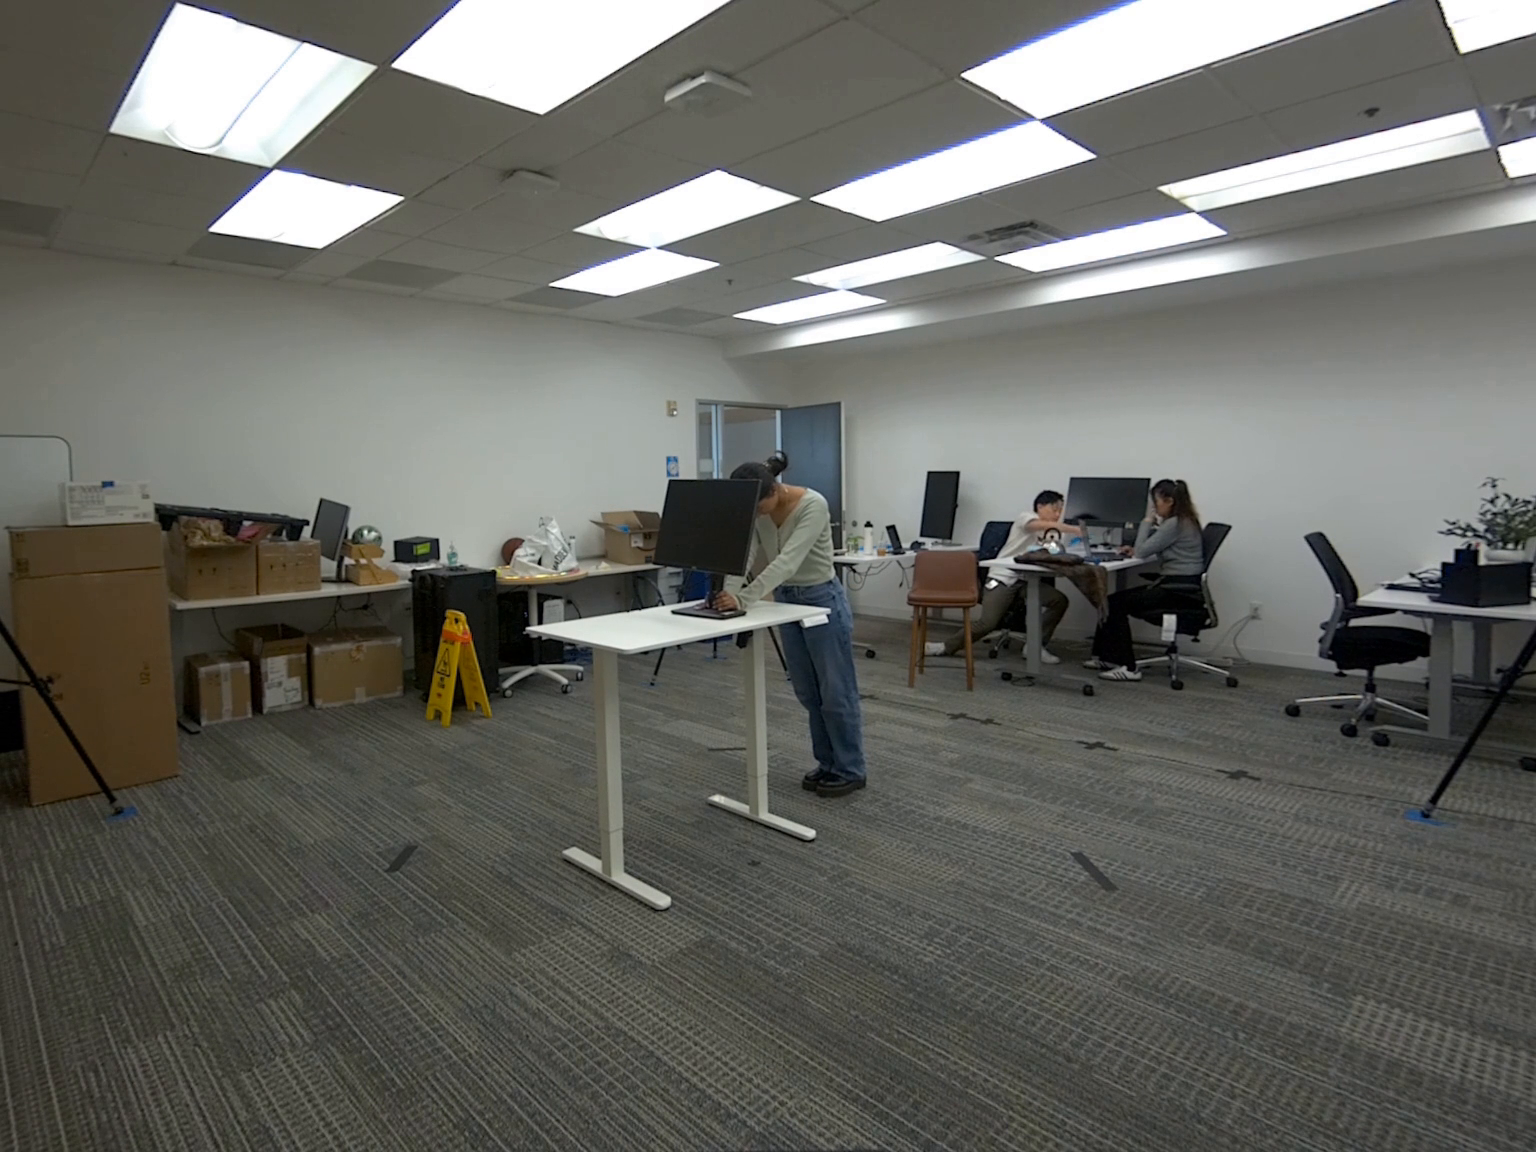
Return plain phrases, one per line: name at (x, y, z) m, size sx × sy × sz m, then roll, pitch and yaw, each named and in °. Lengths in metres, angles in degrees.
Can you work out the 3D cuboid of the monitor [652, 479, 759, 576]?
monitor at (-0.221, -0.108, 3.263) m, size 0.182 × 0.521 × 0.556 m, roll -3°, pitch 6°, yaw -44°
